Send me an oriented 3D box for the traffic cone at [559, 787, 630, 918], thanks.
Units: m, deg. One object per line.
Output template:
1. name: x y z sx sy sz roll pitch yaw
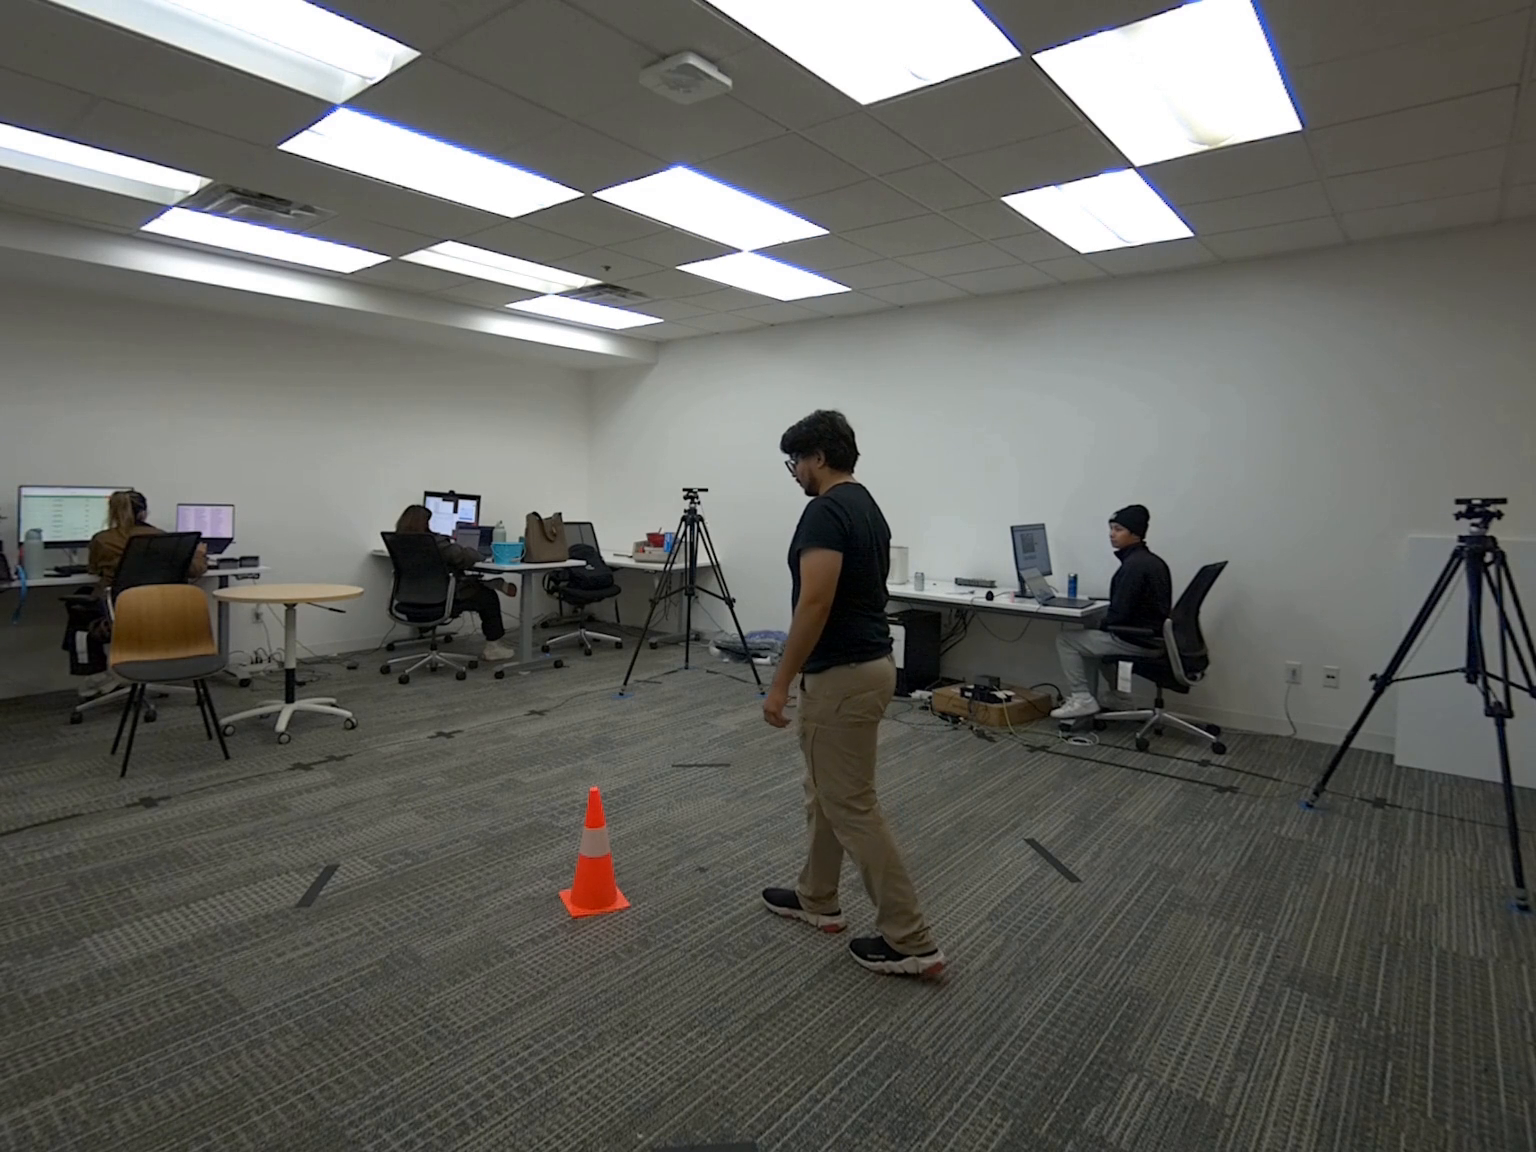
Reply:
1. traffic cone: -0.591 0.903 2.850 0.197 0.382 0.212 -1 6 -34
